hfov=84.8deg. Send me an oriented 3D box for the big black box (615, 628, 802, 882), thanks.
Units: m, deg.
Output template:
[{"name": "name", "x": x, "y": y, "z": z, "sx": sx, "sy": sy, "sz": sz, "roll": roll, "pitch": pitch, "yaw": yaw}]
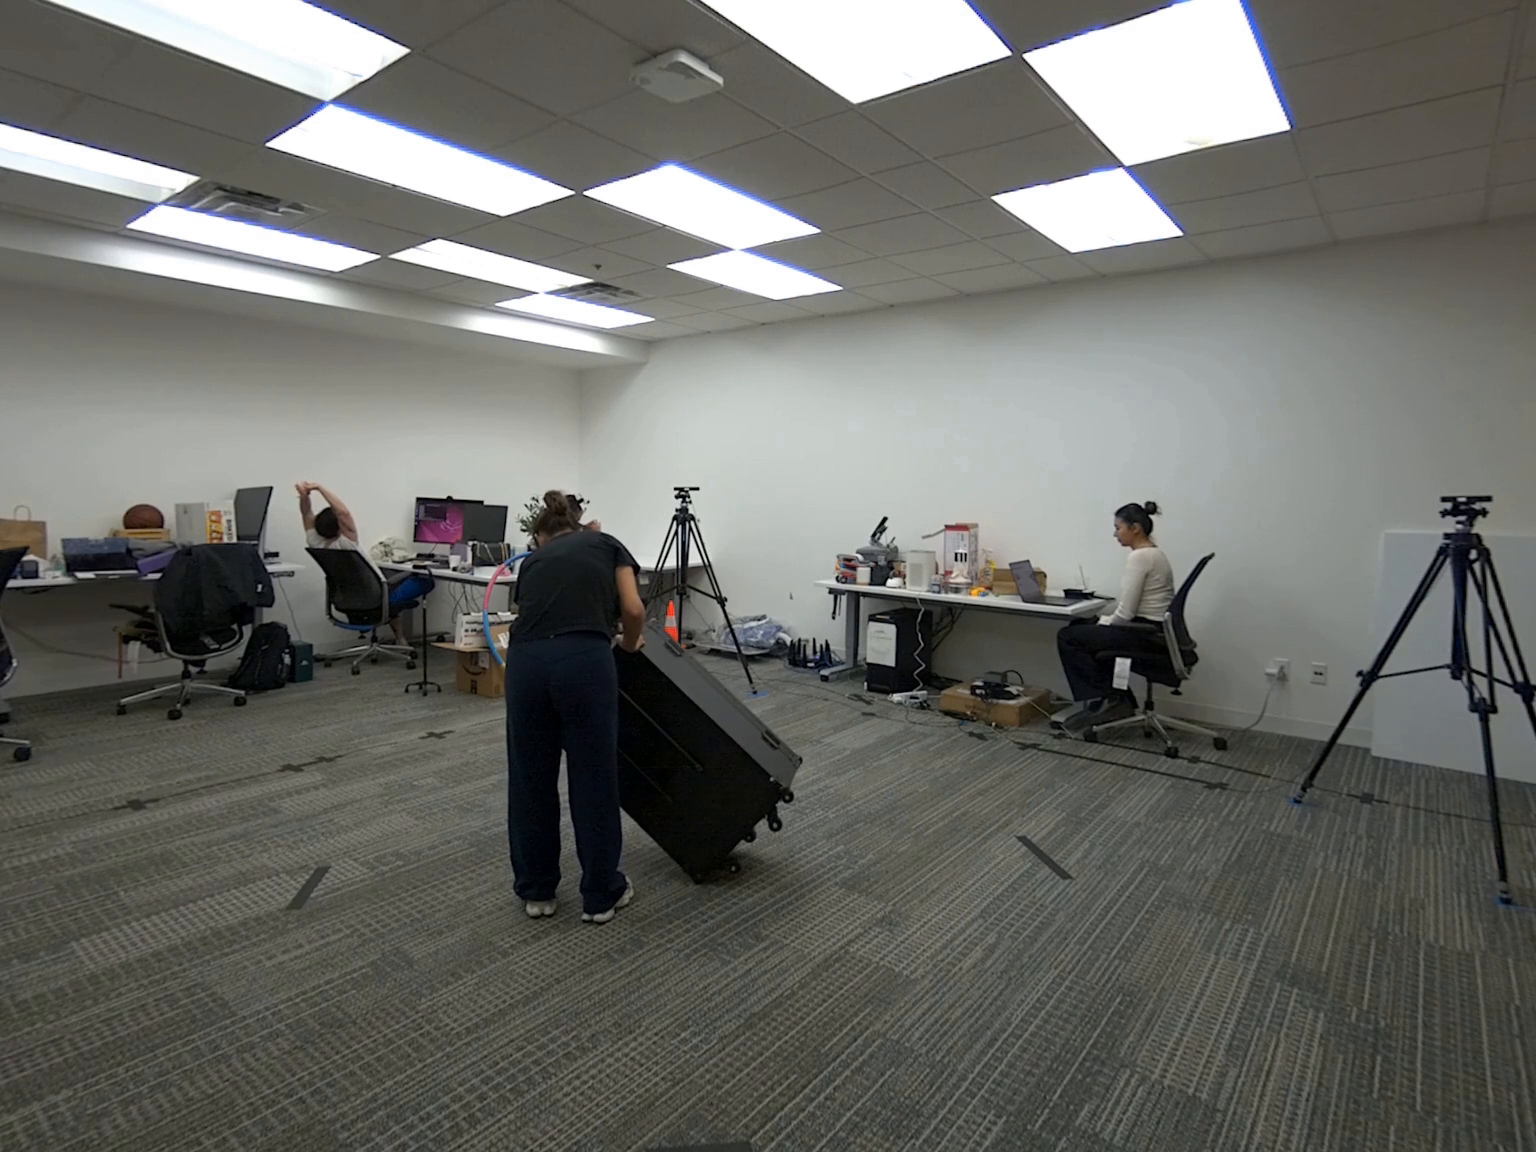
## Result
[{"name": "big black box", "x": -0.303, "y": 0.644, "z": 3.153, "sx": 0.872, "sy": 0.521, "sz": 0.392, "roll": 42, "pitch": 13, "yaw": 8}]
